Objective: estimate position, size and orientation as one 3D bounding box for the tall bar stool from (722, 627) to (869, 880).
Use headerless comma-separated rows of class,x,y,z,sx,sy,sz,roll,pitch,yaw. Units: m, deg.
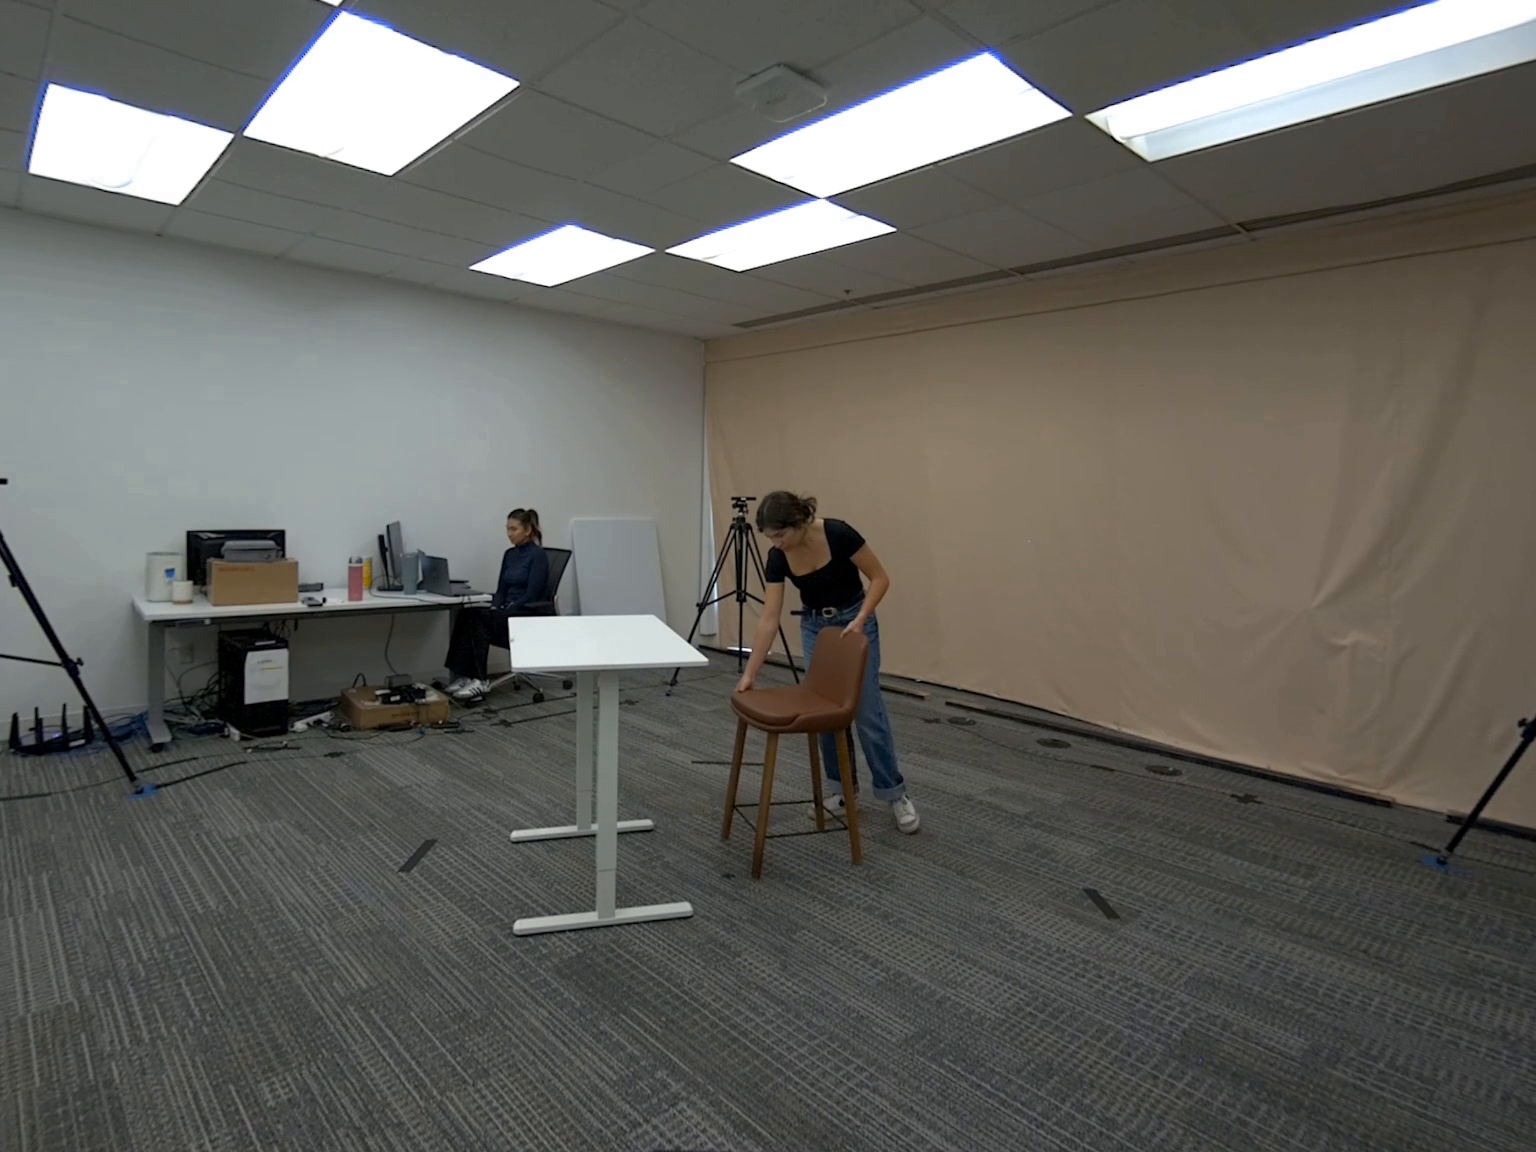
tall bar stool,0.094,0.656,3.308,0.460,0.888,0.464,3,2,-19
